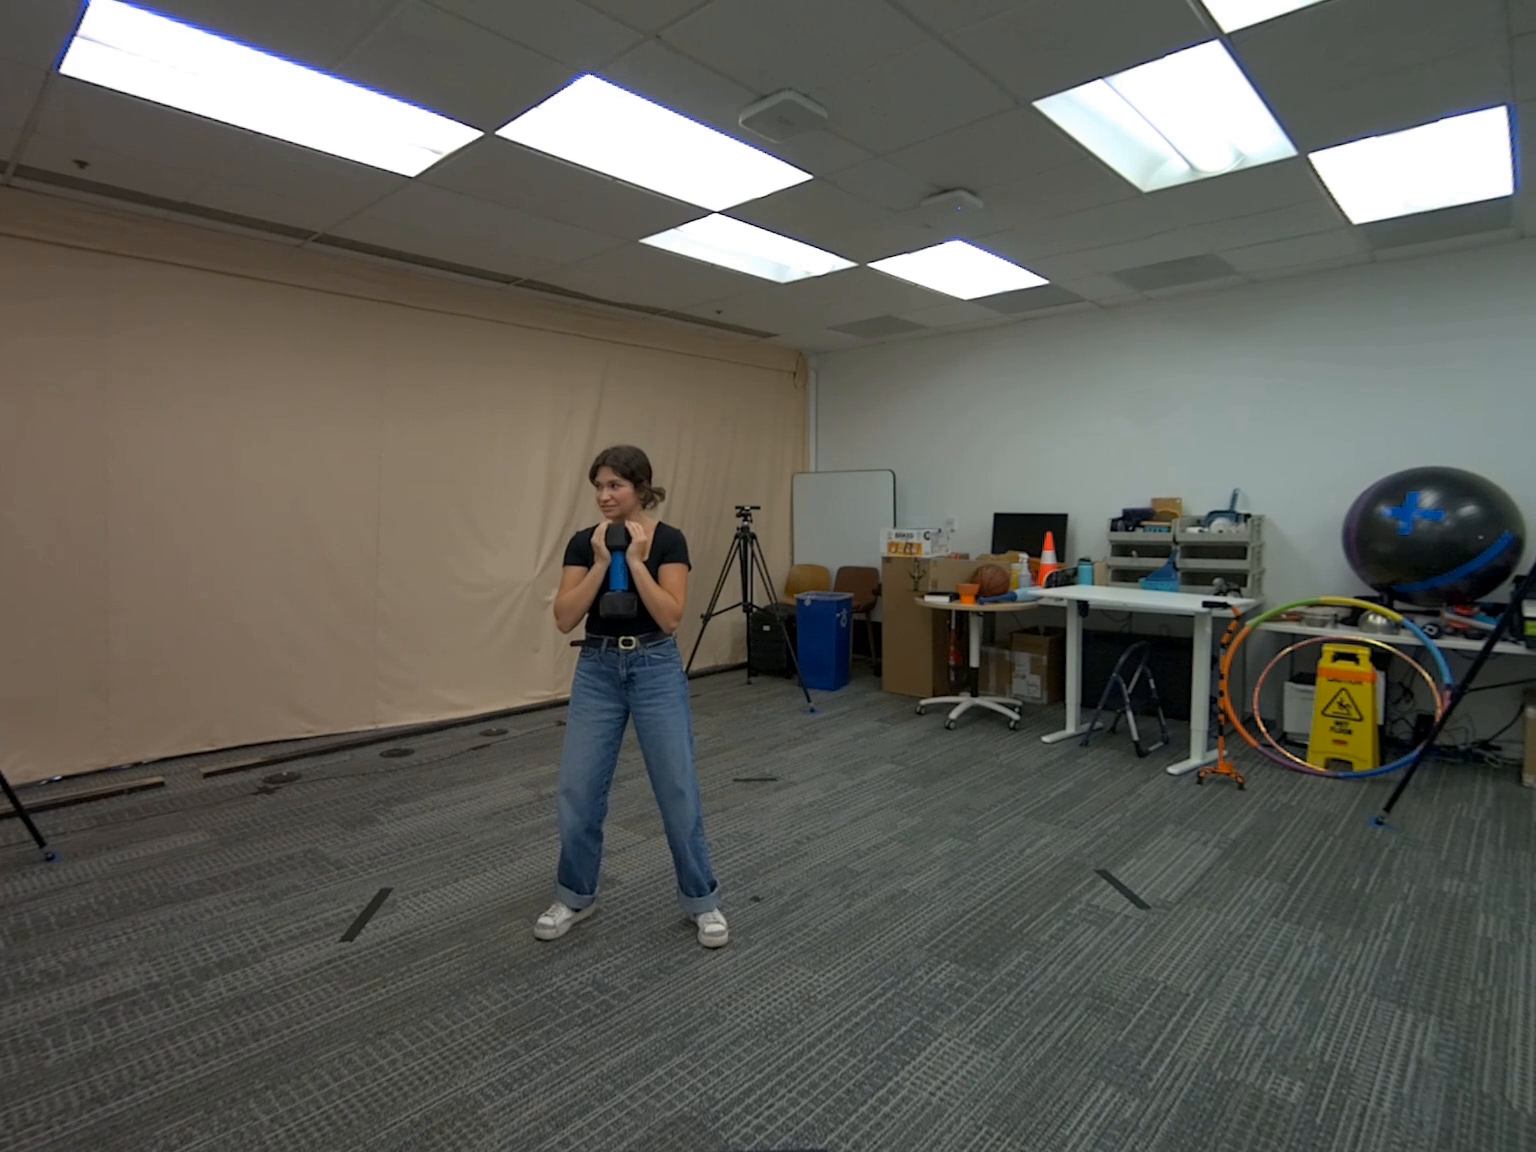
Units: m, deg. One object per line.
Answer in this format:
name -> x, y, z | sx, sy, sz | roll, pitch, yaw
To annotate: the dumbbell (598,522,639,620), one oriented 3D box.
dumbbell -> -0.463, -0.007, 2.653 | 0.119, 0.294, 0.112 | 5, -6, -39
